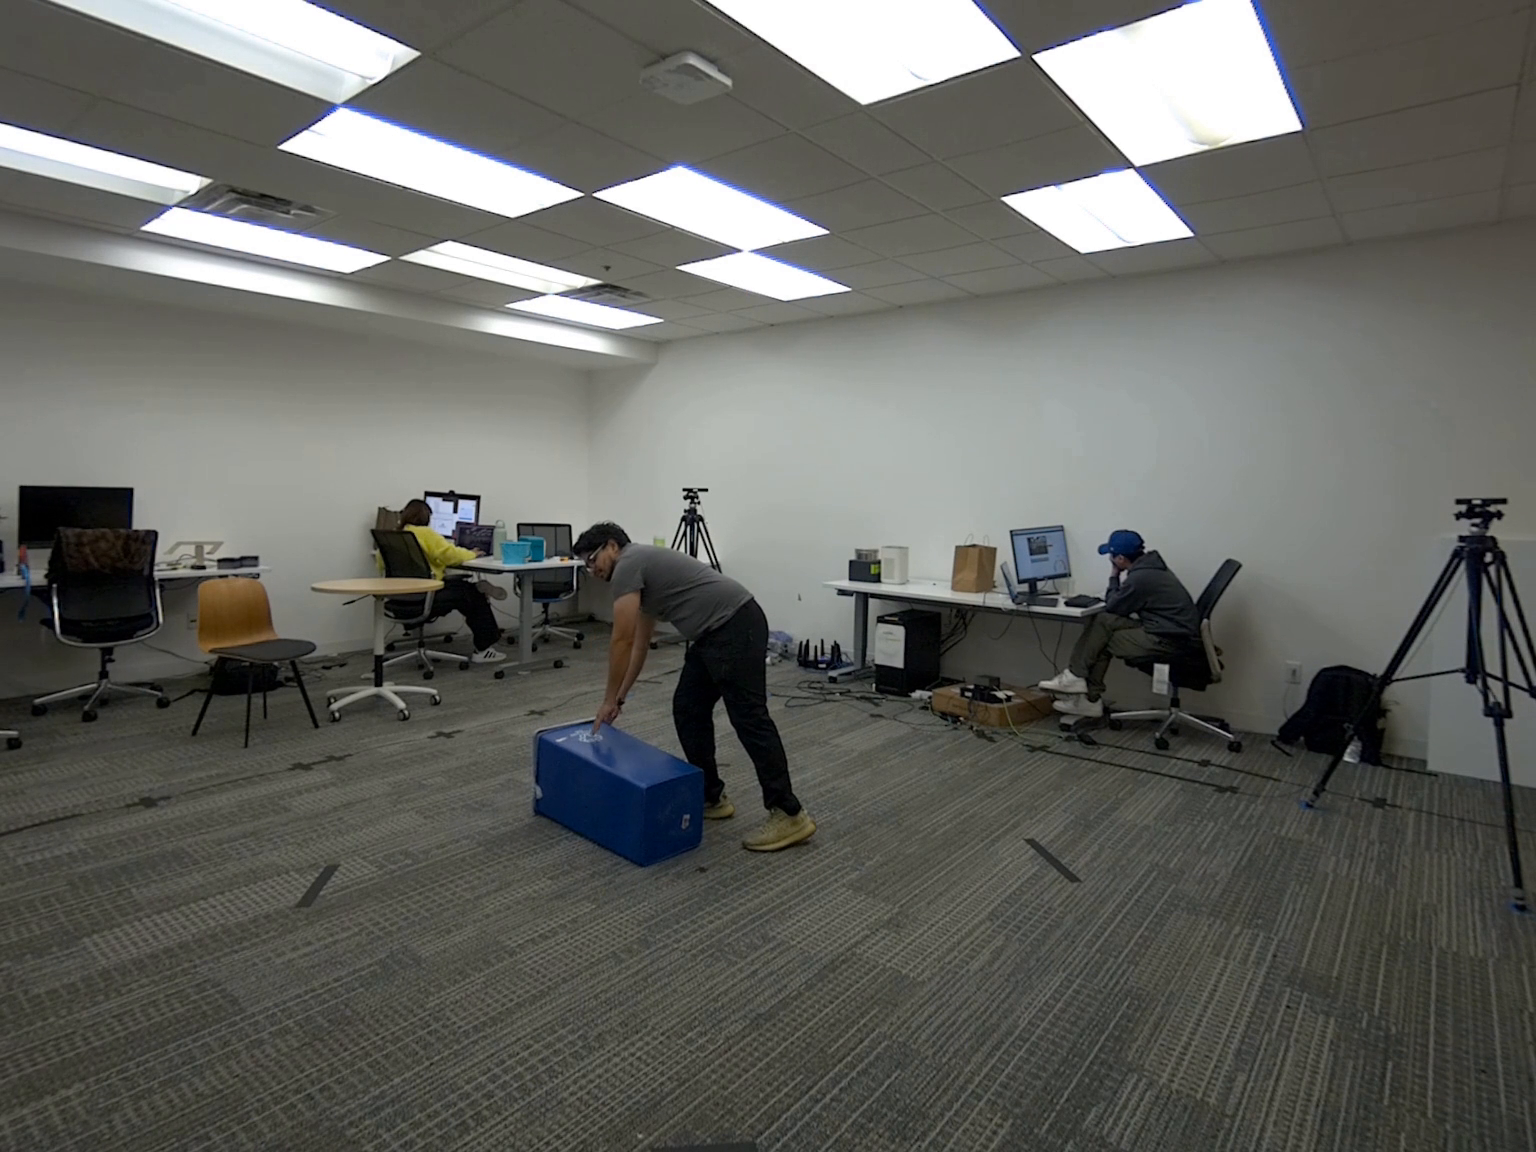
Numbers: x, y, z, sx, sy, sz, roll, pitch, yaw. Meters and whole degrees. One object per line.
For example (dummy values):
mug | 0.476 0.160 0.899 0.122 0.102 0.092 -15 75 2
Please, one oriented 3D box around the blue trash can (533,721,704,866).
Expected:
blue trash can | -0.624 0.855 3.450 0.739 0.372 0.367 8 8 44
